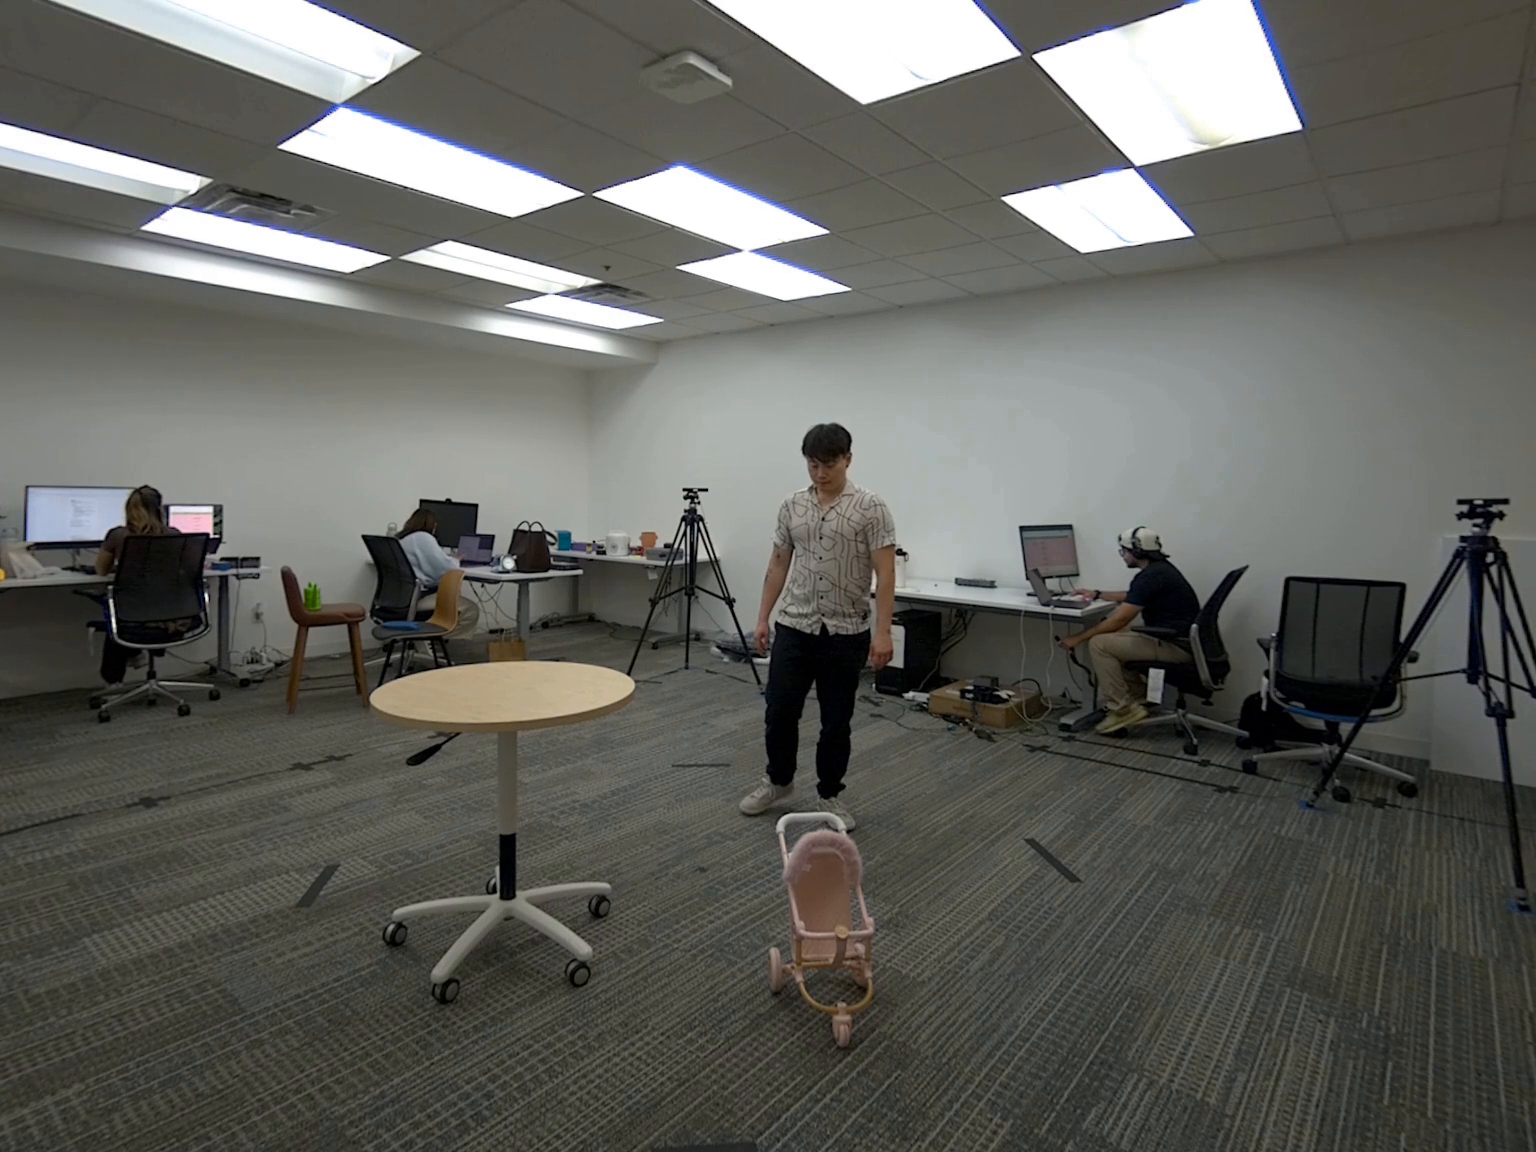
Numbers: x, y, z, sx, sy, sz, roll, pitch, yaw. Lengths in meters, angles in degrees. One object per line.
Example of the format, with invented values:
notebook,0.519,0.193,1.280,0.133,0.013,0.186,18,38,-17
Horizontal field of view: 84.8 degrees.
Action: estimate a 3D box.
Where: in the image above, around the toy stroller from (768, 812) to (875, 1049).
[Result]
toy stroller,0.148,0.939,2.301,0.280,0.542,0.338,1,-12,-4
